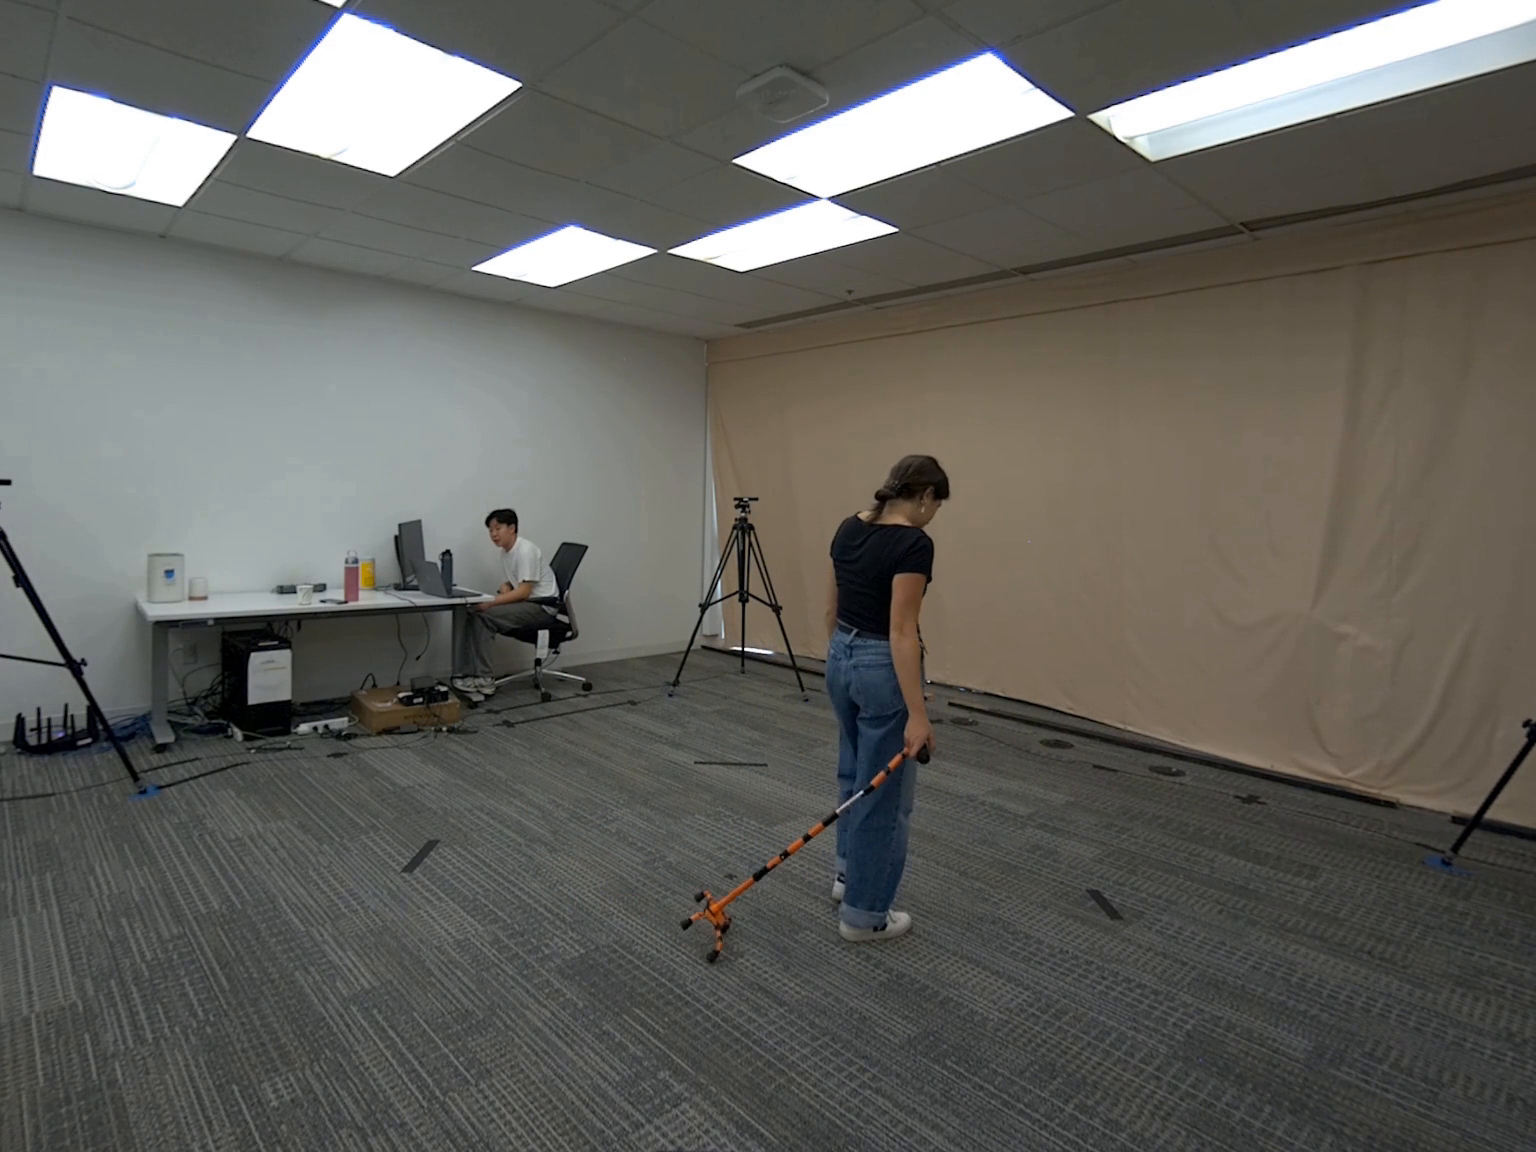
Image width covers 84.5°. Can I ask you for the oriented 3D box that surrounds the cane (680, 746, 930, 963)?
[{"bbox_3d":[0.124,0.808,2.516,0.909,0.152,0.205,-41,-3,12],"label":"cane"}]
